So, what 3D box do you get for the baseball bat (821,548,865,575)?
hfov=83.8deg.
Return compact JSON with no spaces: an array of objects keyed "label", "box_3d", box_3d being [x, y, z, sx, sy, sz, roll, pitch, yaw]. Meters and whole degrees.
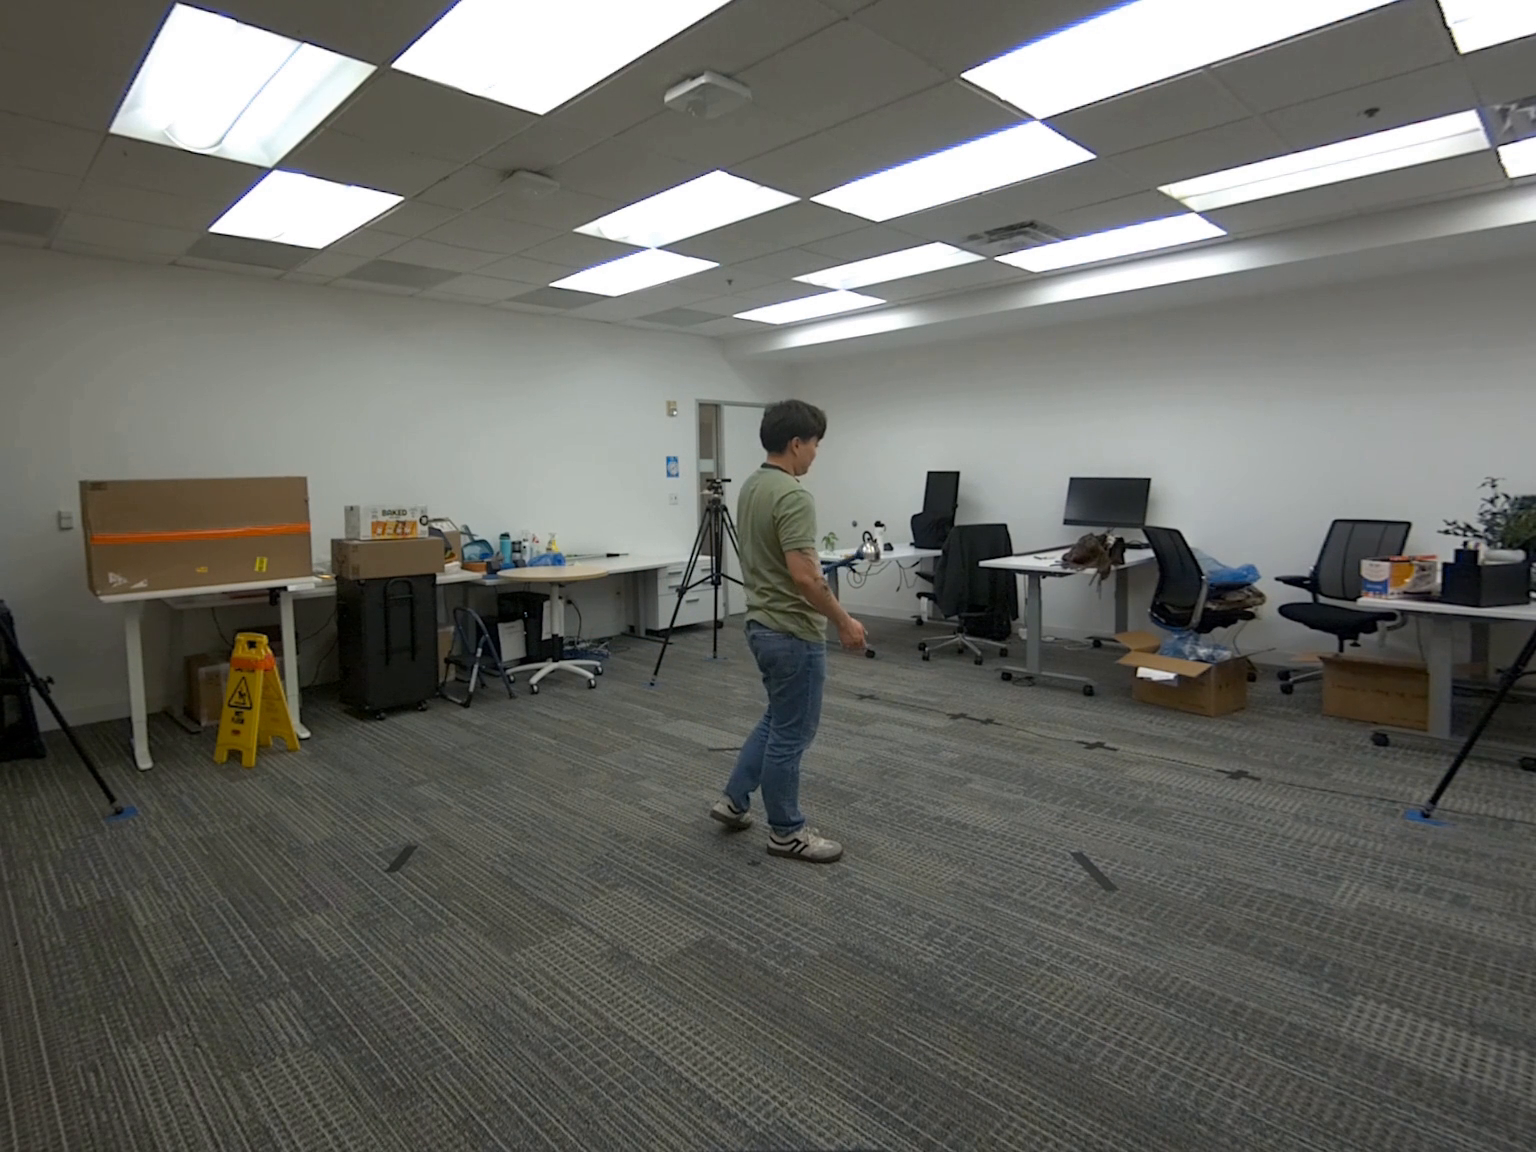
[{"label":"baseball bat","box_3d":[0.168,0.027,3.637,0.545,0.089,0.089,-24,3,6]}]
